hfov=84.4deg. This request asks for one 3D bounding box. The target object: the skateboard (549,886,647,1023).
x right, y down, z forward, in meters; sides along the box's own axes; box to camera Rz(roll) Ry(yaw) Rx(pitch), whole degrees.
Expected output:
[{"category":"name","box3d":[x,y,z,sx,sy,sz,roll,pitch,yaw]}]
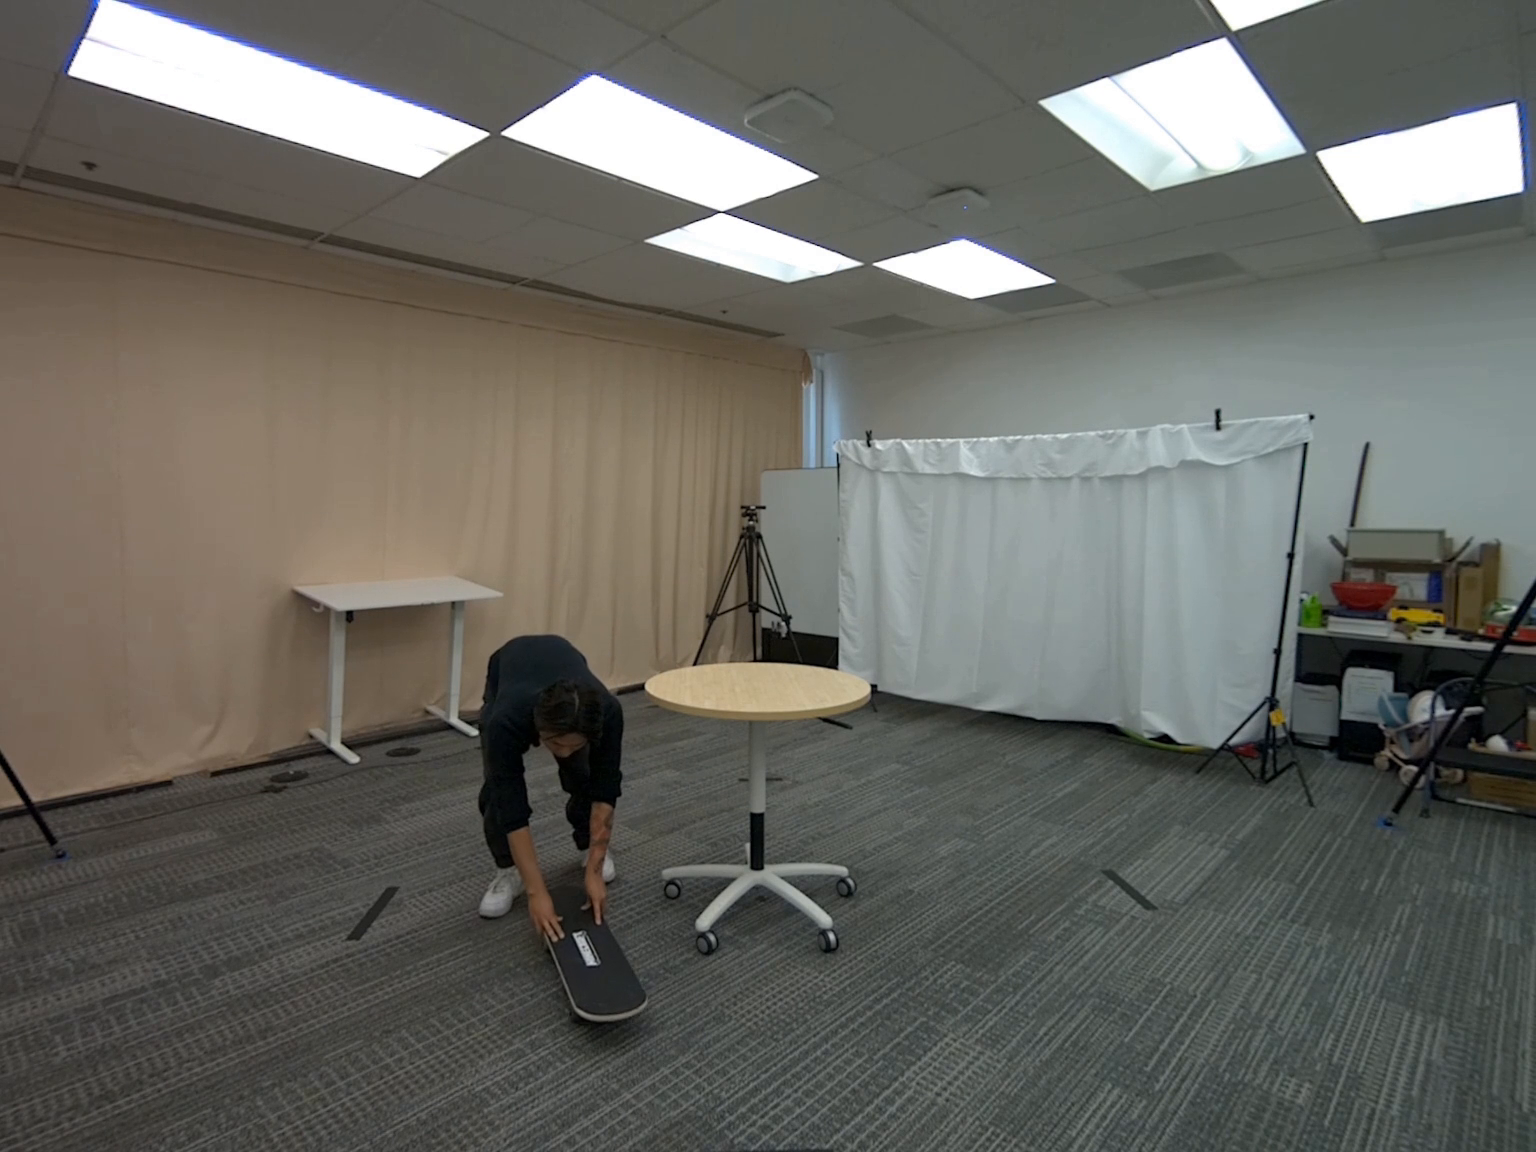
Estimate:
[{"category":"skateboard","box3d":[-0.533,1.130,2.496,0.189,0.110,0.805,-2,5,-24]}]
